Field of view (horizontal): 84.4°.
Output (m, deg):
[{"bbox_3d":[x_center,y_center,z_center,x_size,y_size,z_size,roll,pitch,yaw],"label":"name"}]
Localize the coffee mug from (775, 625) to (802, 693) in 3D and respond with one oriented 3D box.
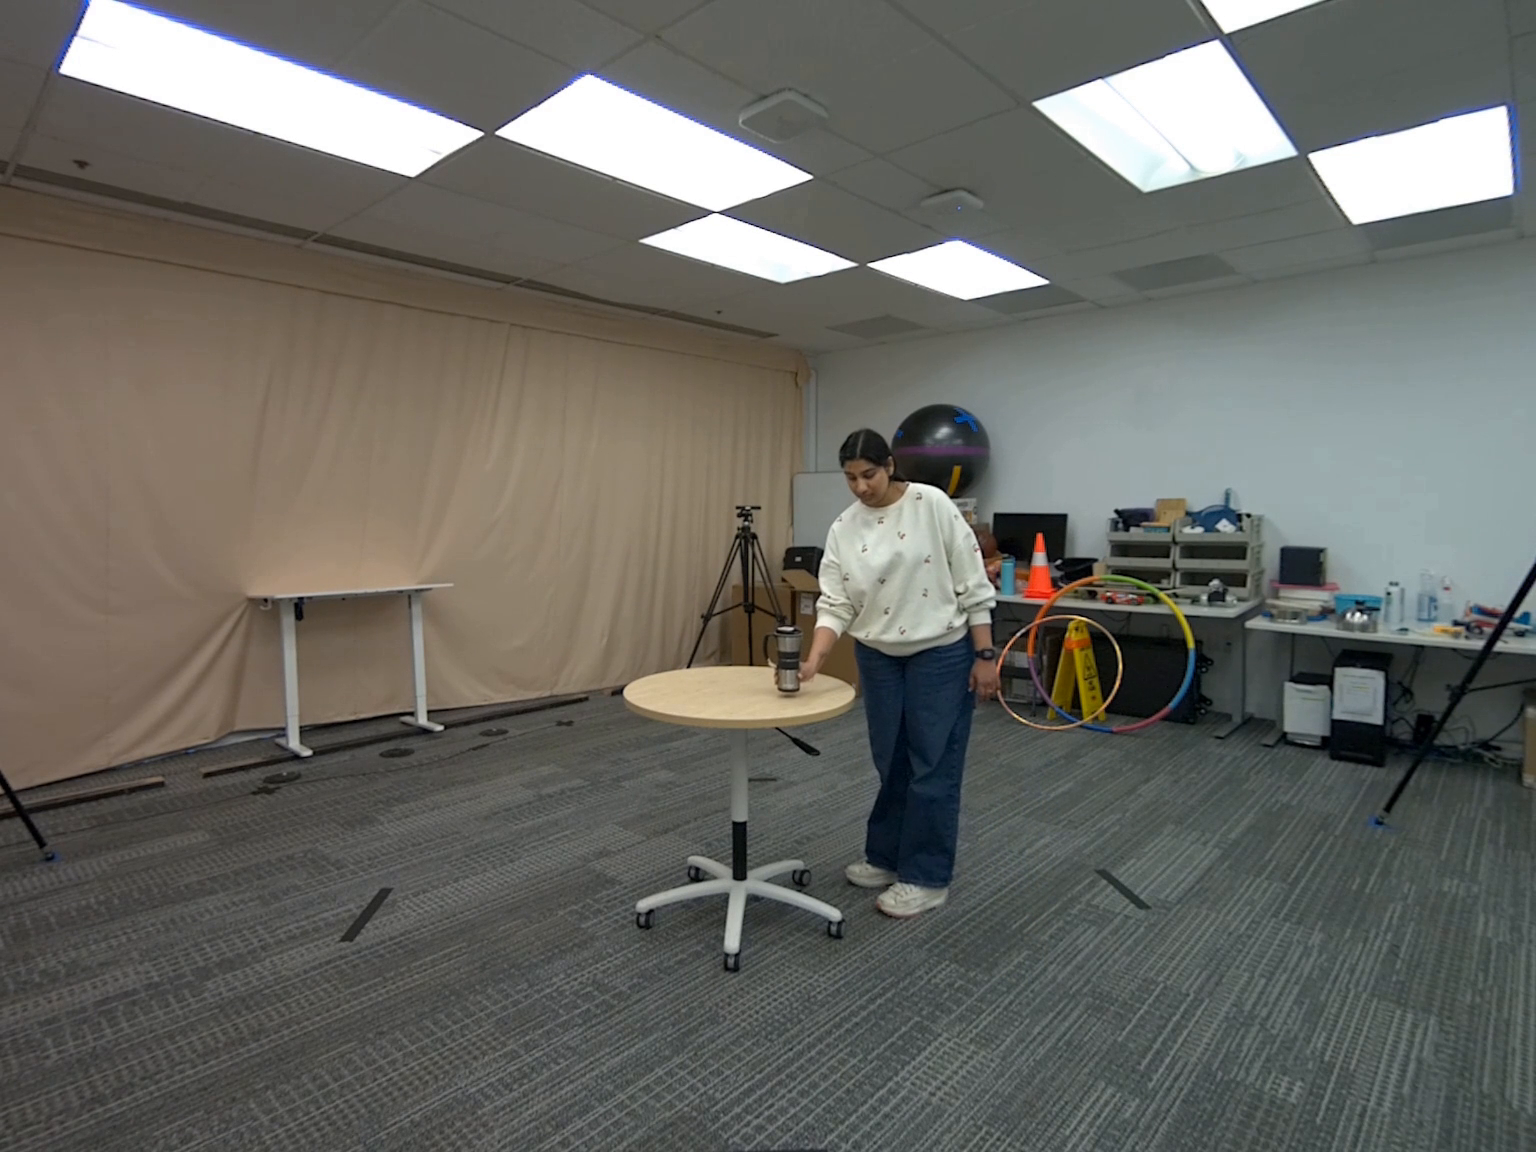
[{"bbox_3d":[0.047,0.265,2.695,0.126,0.202,0.086,5,9,31],"label":"coffee mug"}]
